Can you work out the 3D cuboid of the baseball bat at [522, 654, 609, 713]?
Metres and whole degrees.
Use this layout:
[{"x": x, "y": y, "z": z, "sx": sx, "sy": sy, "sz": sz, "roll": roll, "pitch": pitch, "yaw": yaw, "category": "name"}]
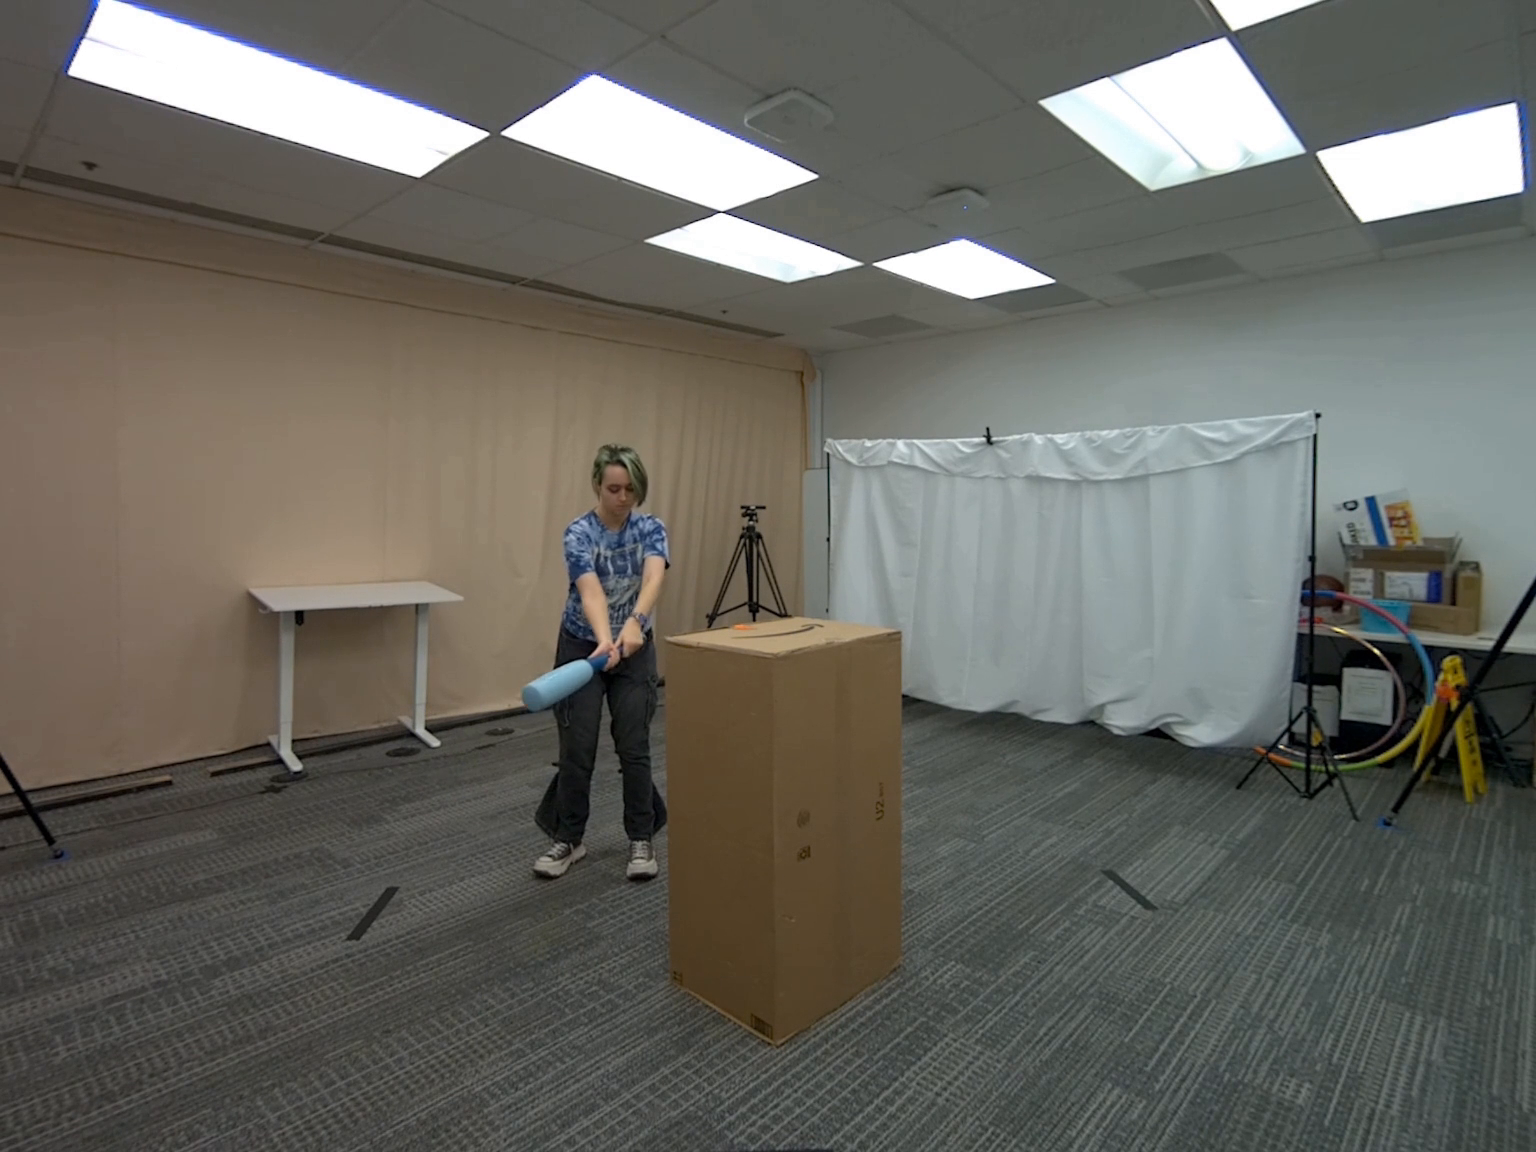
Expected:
[{"x": -0.542, "y": 0.292, "z": 2.619, "sx": 0.091, "sy": 0.088, "sz": 0.534, "roll": 2, "pitch": 14, "yaw": 24, "category": "baseball bat"}]
